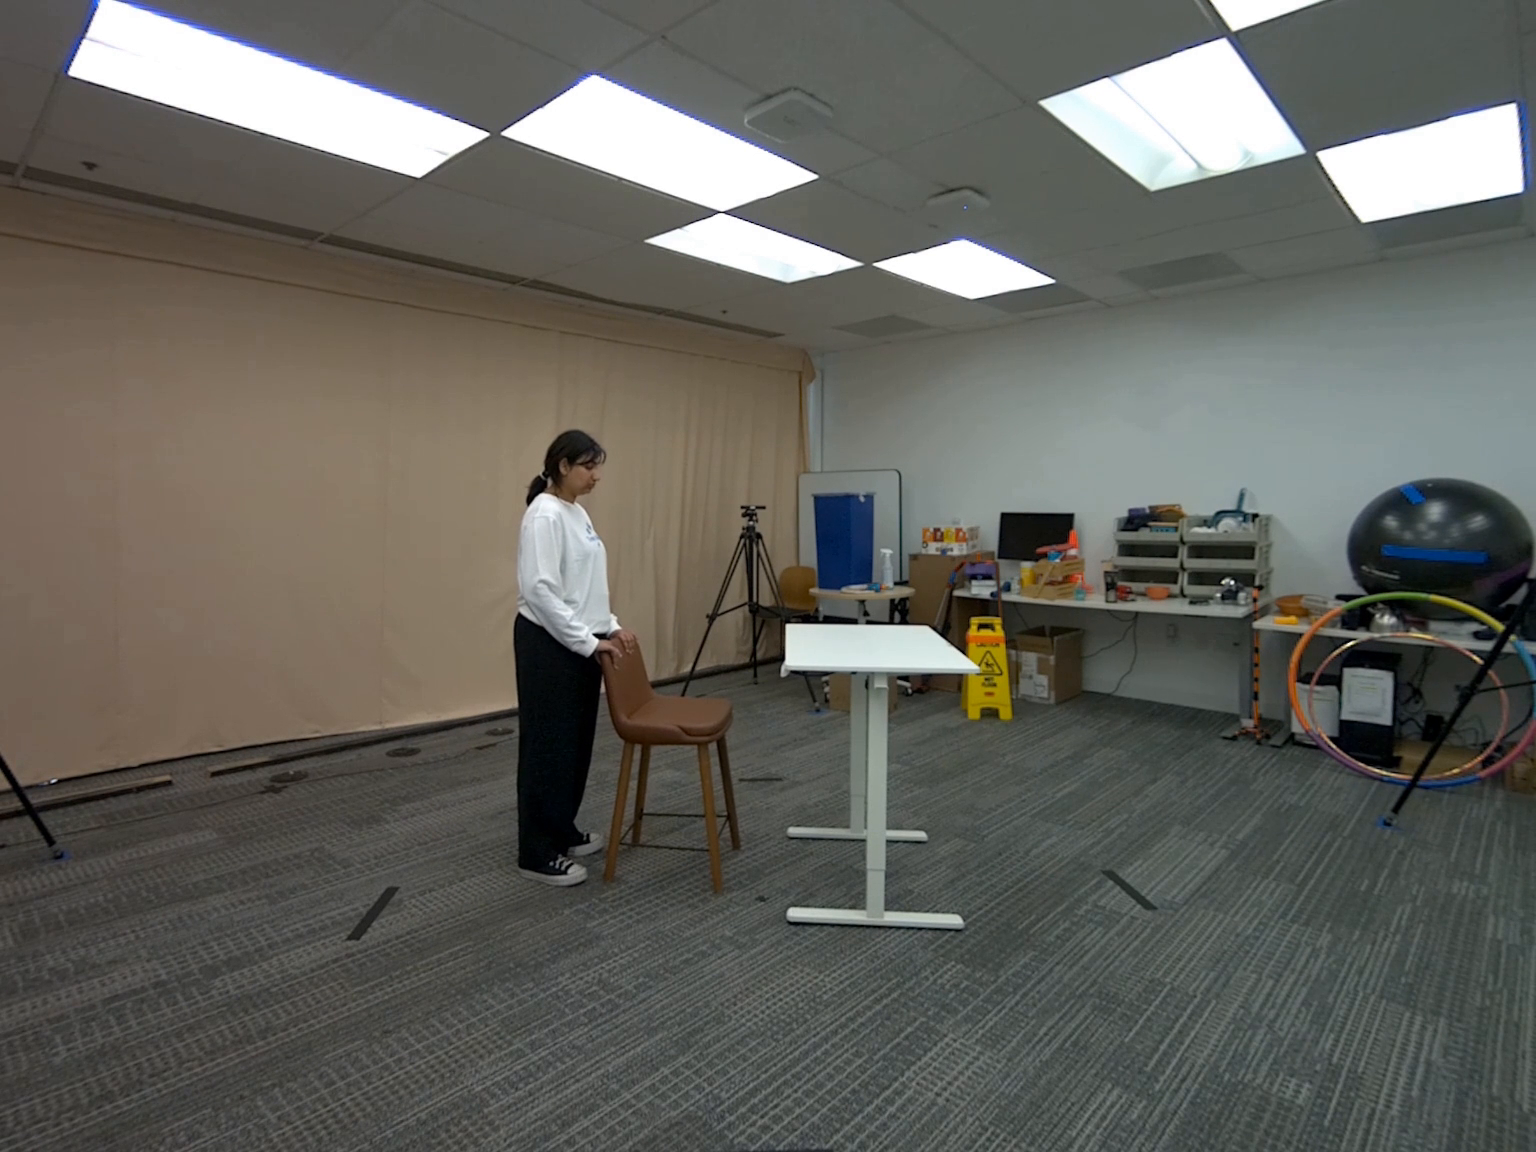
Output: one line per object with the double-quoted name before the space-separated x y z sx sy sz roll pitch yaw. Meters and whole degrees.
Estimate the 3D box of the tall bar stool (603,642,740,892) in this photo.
"tall bar stool" -0.369 0.690 3.234 0.473 0.888 0.452 -3 3 10
